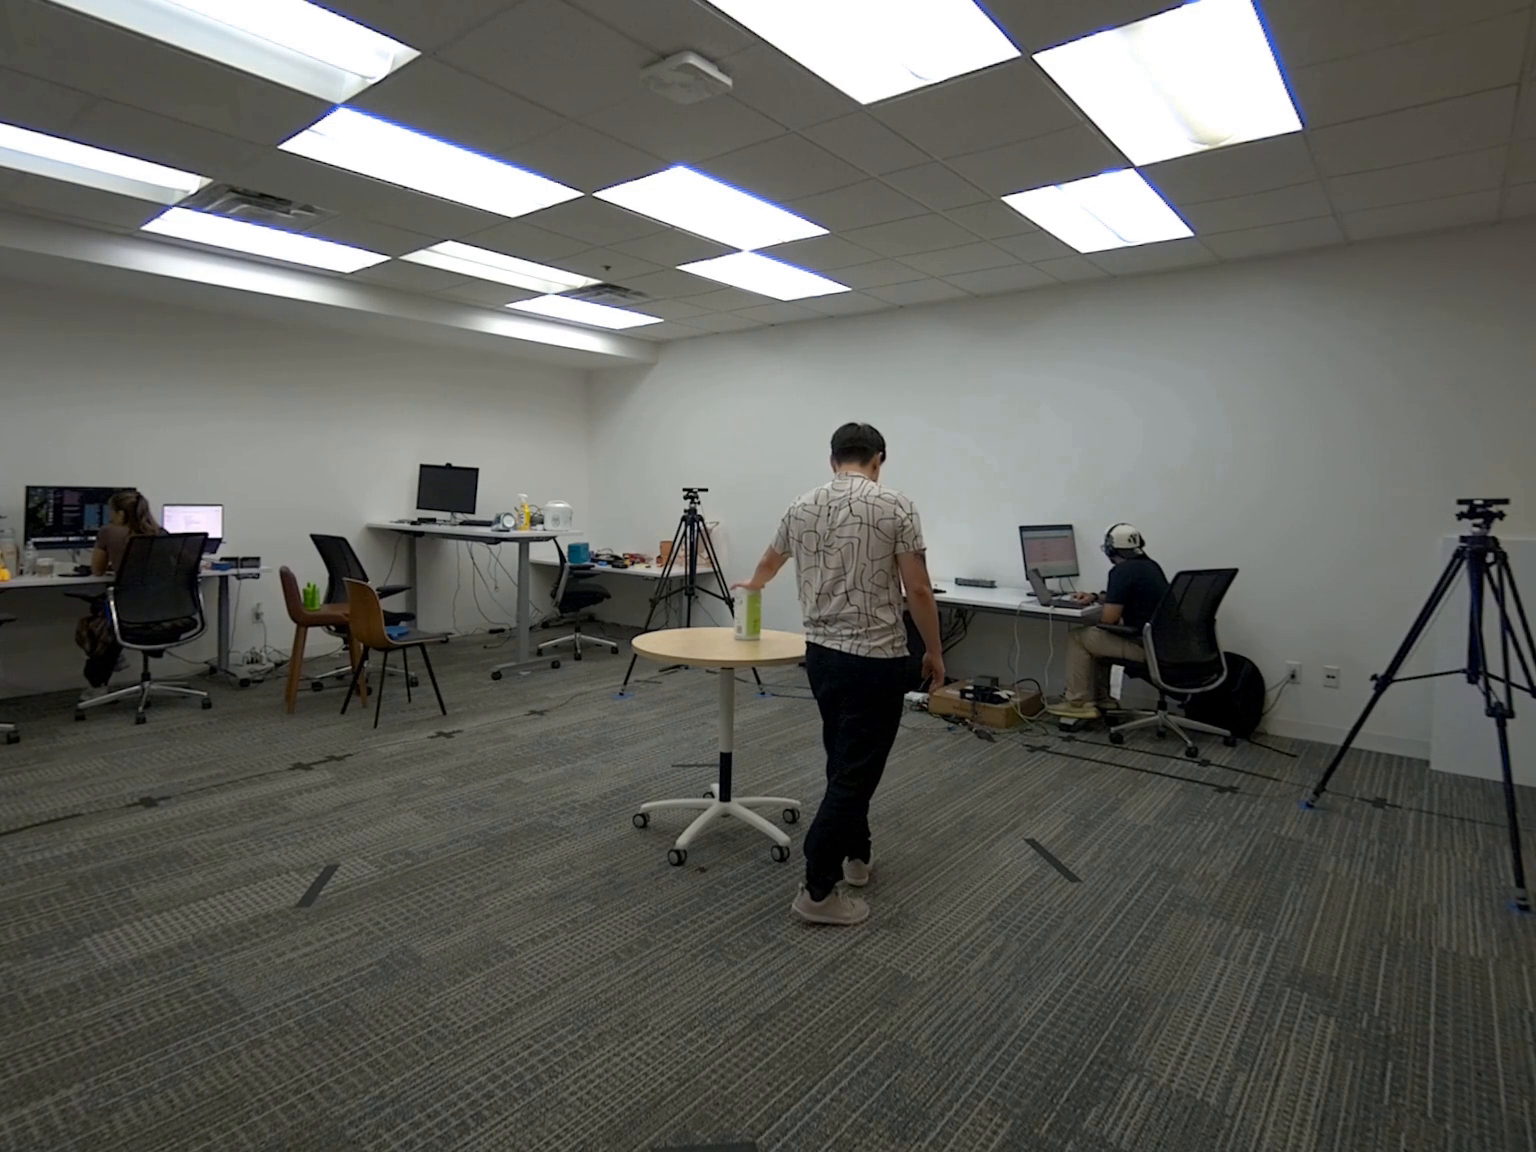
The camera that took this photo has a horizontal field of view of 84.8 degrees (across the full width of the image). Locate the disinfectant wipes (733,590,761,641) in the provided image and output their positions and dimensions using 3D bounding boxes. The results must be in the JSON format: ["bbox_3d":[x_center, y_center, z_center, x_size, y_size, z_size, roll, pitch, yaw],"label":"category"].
[{"bbox_3d":[-0.097,0.151,3.486,0.117,0.217,0.118,2,2,-2],"label":"disinfectant wipes"}]
